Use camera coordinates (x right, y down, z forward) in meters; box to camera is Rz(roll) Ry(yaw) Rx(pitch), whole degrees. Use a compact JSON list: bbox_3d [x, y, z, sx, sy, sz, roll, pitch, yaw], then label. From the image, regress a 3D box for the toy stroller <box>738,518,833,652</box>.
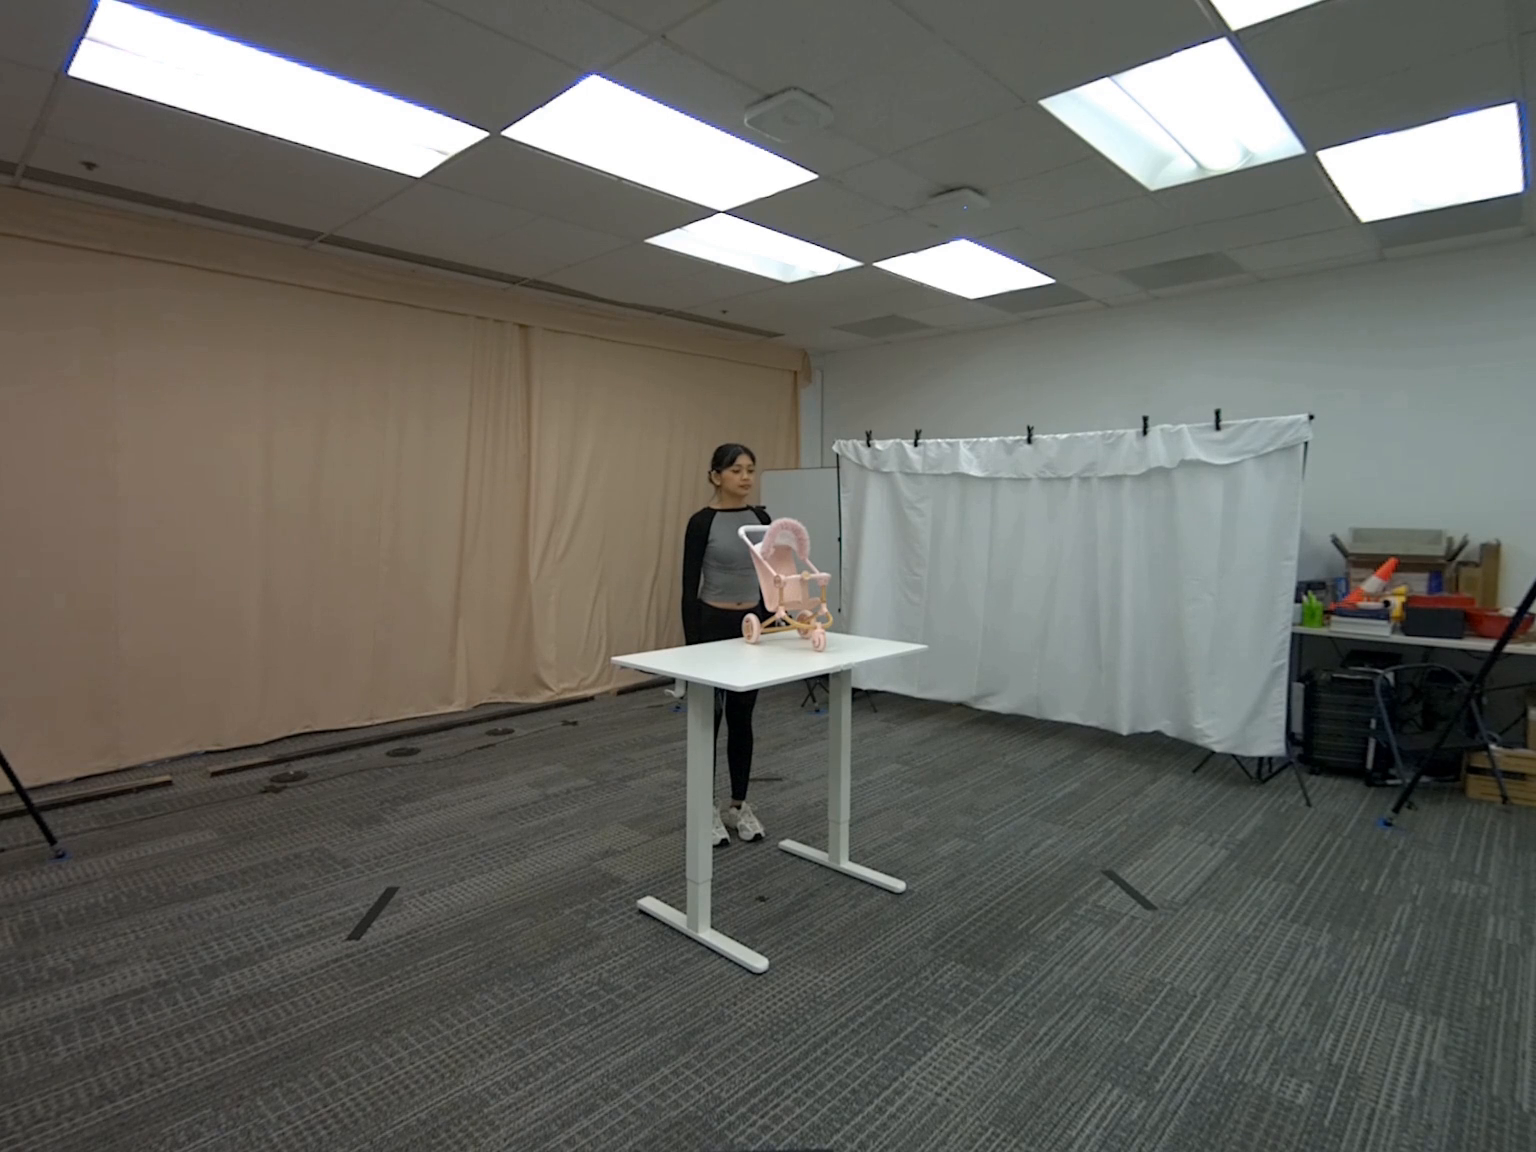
[{"bbox_3d":[0.078,0.026,3.100,0.274,0.540,0.347,-1,-13,-28],"label":"toy stroller"}]
